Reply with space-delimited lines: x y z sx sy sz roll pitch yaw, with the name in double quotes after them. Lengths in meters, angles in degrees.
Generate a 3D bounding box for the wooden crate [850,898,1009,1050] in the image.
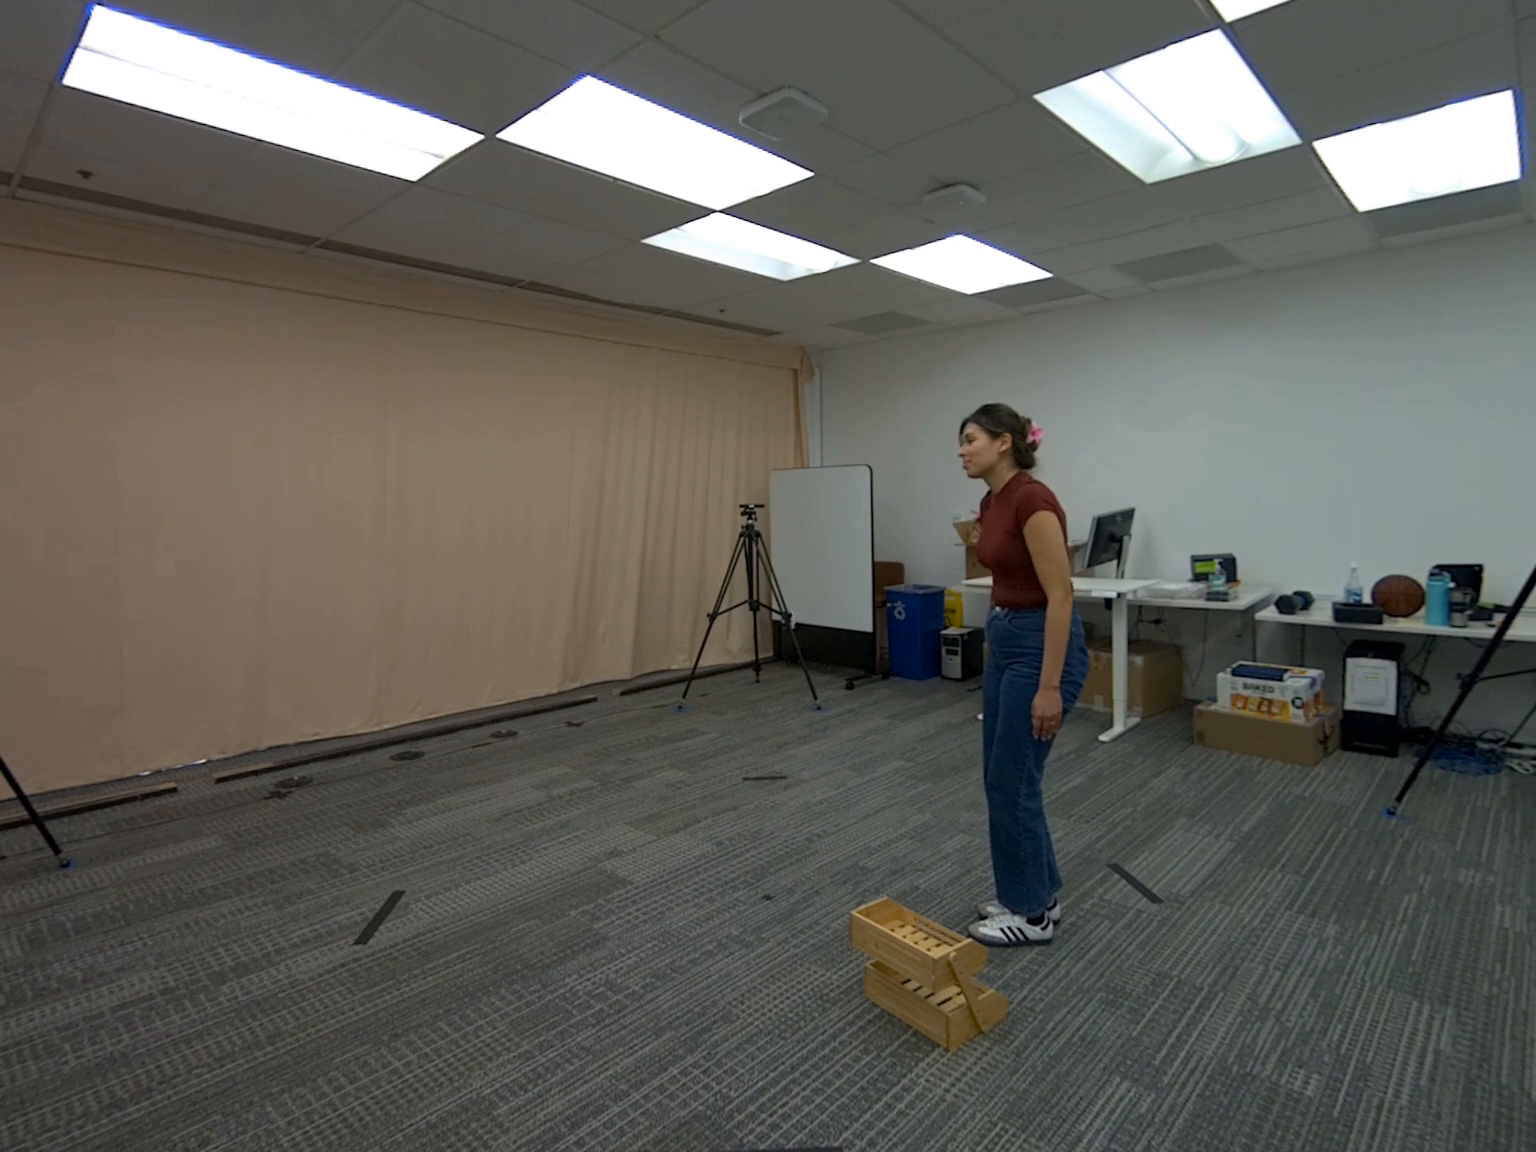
0.446 1.057 2.303 0.293 0.273 0.335 -4 5 -38 "wooden crate"
